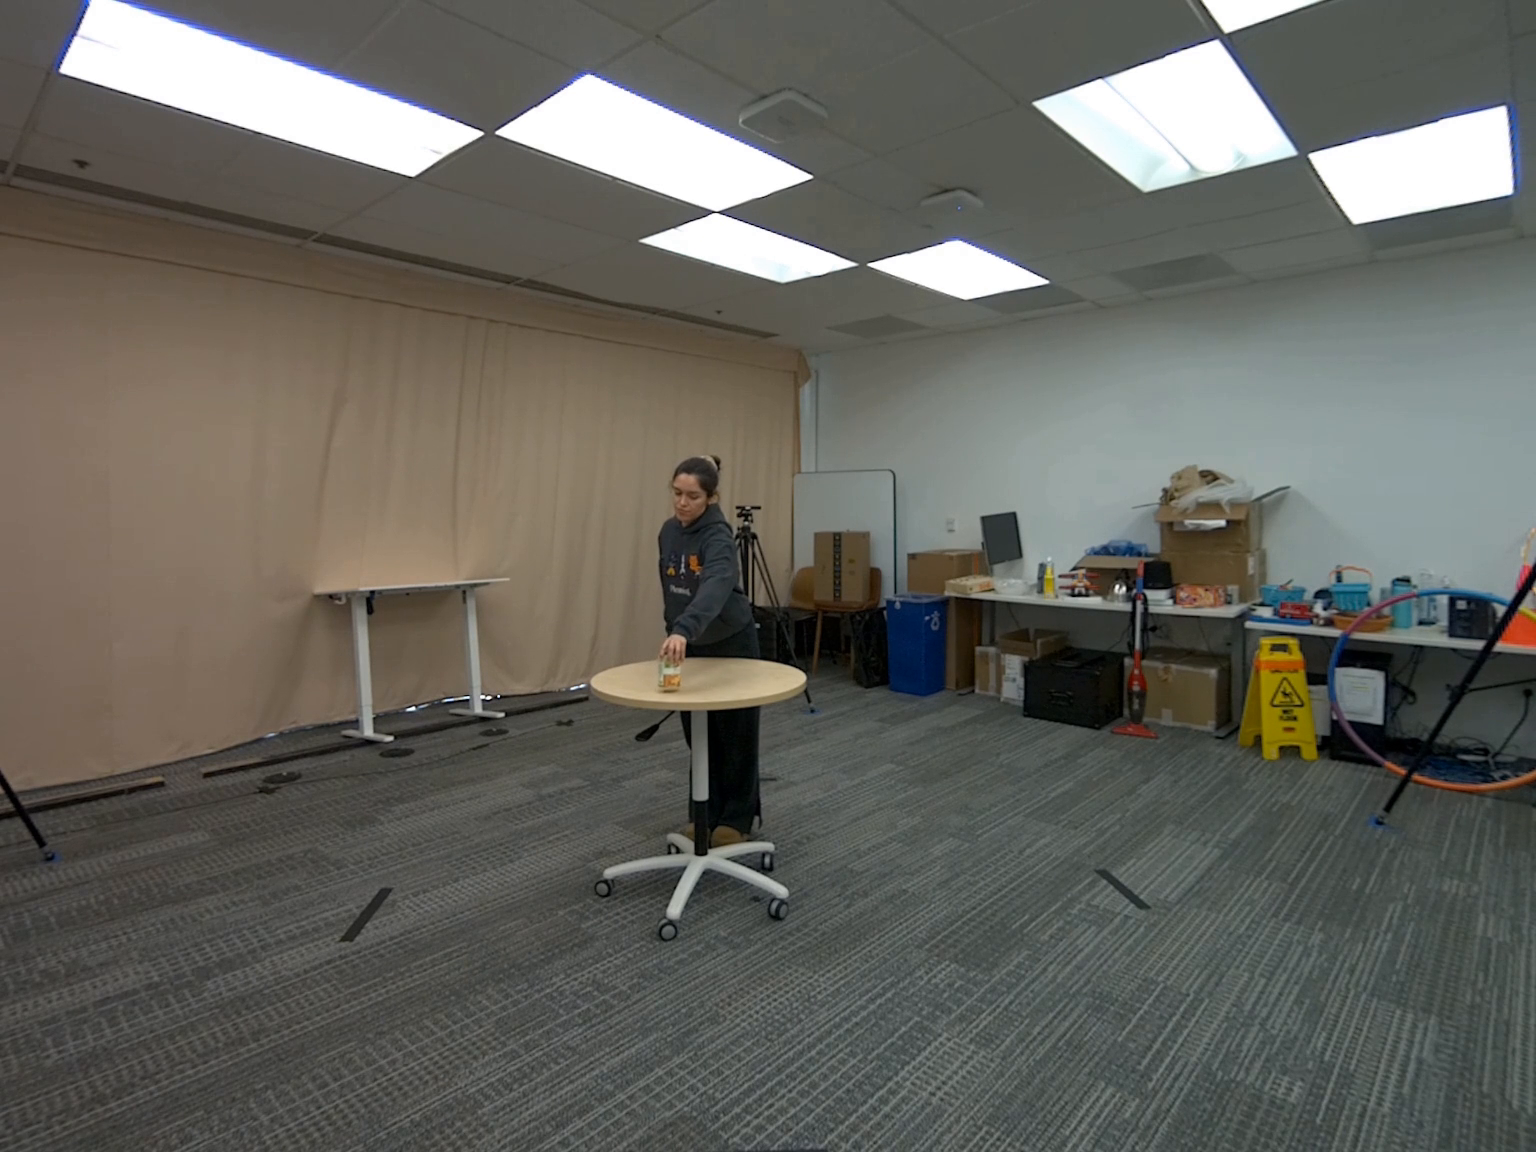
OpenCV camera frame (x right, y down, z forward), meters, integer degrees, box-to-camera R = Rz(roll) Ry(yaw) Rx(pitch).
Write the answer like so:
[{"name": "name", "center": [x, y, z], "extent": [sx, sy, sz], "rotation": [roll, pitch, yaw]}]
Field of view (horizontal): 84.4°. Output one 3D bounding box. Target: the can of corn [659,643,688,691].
[{"name": "can of corn", "center": [-0.314, 0.309, 2.775], "extent": [0.074, 0.111, 0.074], "rotation": [-1, 2, -2]}]
